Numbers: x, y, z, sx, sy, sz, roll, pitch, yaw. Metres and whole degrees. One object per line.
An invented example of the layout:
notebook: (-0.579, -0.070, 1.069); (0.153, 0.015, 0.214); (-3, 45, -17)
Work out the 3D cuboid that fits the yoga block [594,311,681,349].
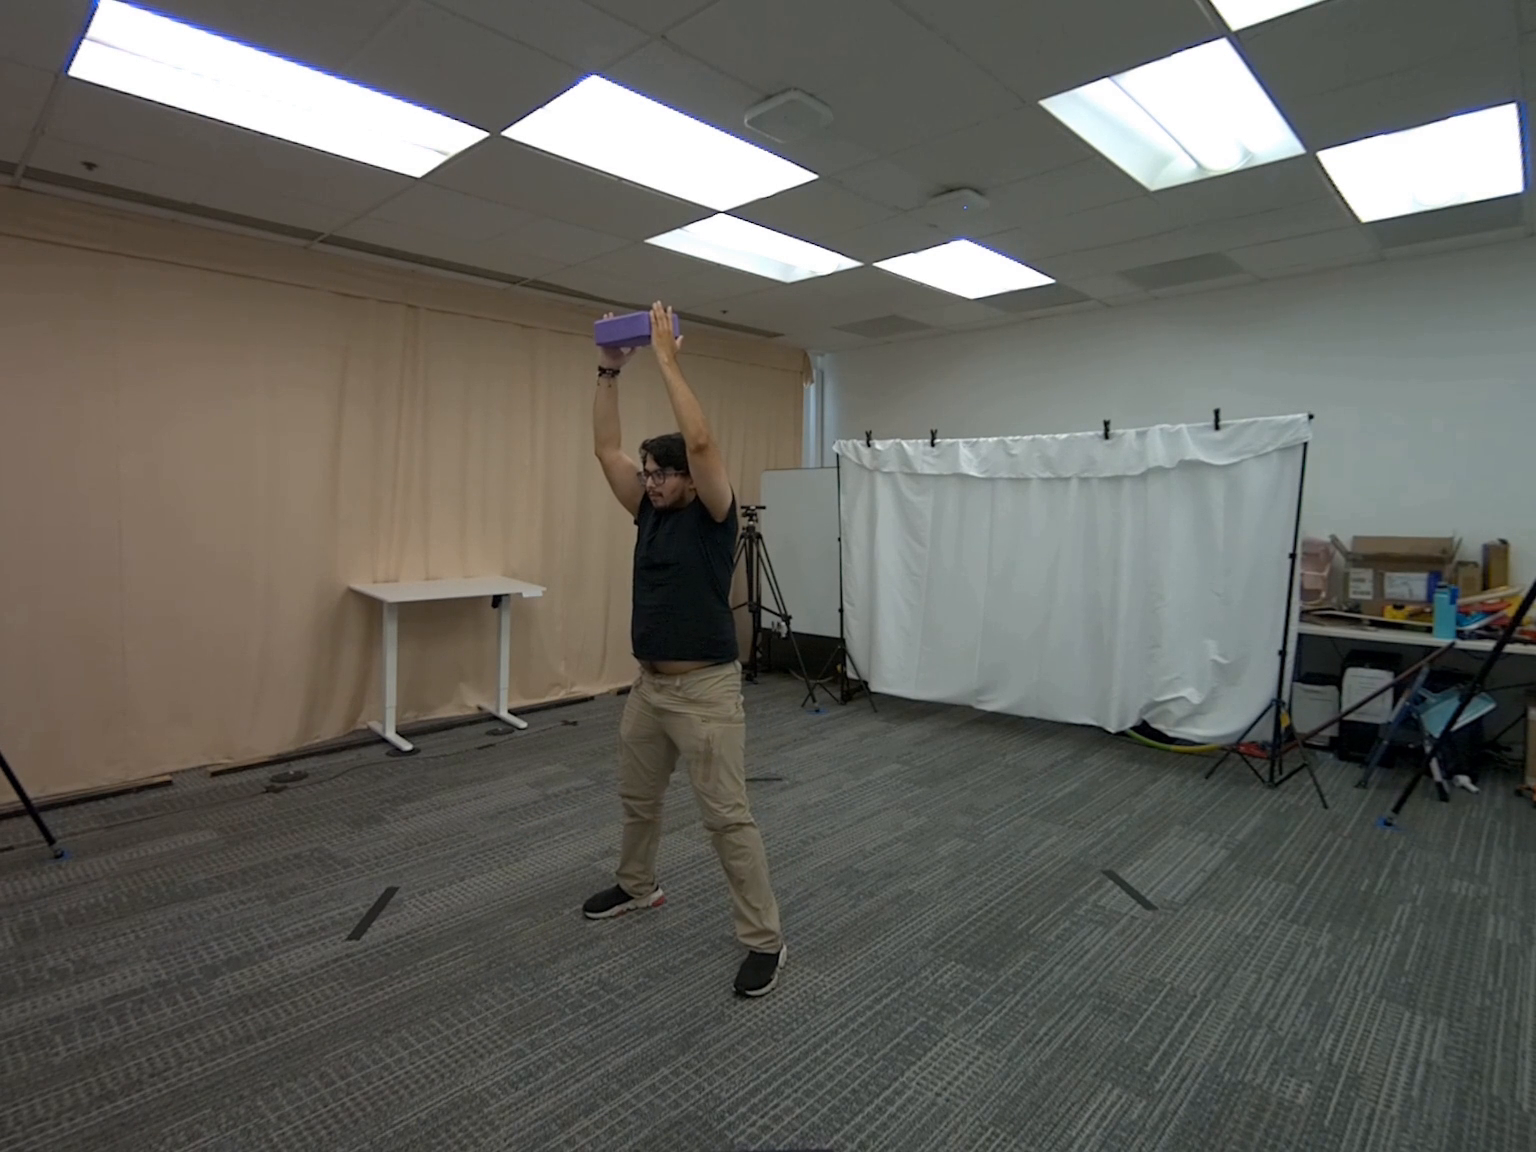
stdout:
yoga block: (-0.396, -0.740, 2.528); (0.237, 0.076, 0.145); (6, 15, 44)
